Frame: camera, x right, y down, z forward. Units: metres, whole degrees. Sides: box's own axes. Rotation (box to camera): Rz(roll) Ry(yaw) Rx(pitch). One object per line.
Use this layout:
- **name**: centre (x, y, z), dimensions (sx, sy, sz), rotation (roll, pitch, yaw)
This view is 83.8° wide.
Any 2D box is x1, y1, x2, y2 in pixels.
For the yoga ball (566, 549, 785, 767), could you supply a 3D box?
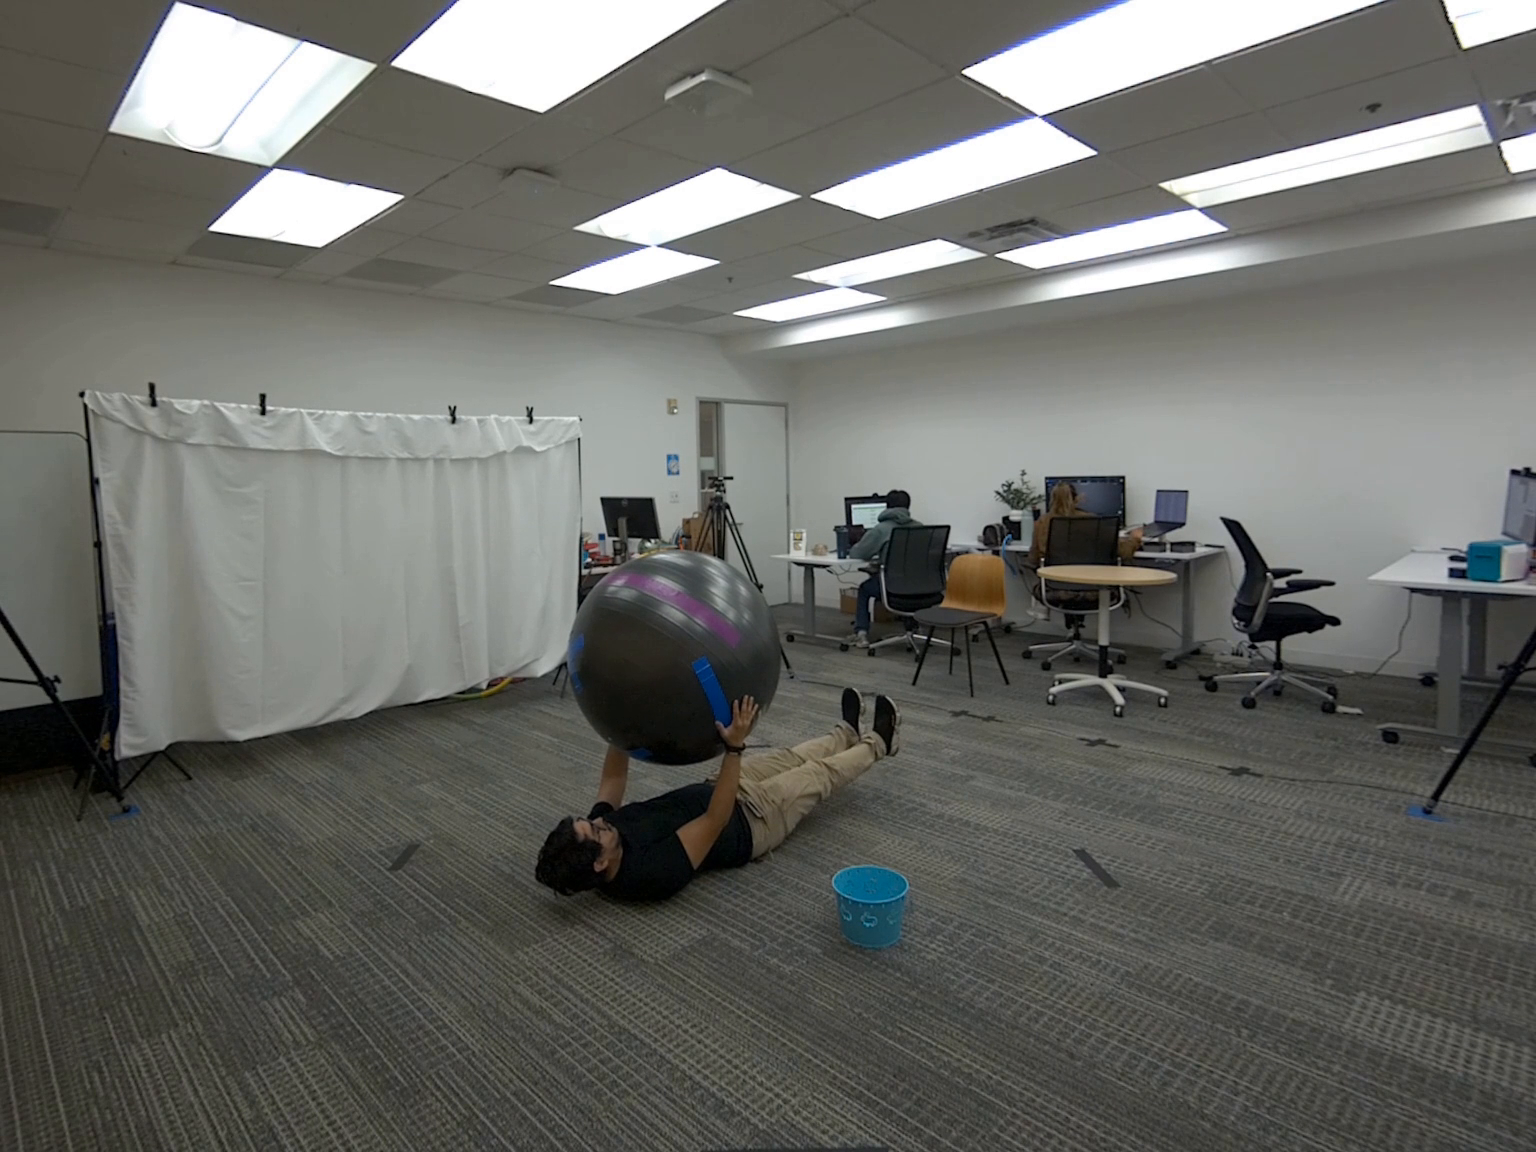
- **yoga ball**: centre (-0.336, 0.292, 3.050), dimensions (0.757, 0.755, 0.761), rotation (-1, 4, -2)
